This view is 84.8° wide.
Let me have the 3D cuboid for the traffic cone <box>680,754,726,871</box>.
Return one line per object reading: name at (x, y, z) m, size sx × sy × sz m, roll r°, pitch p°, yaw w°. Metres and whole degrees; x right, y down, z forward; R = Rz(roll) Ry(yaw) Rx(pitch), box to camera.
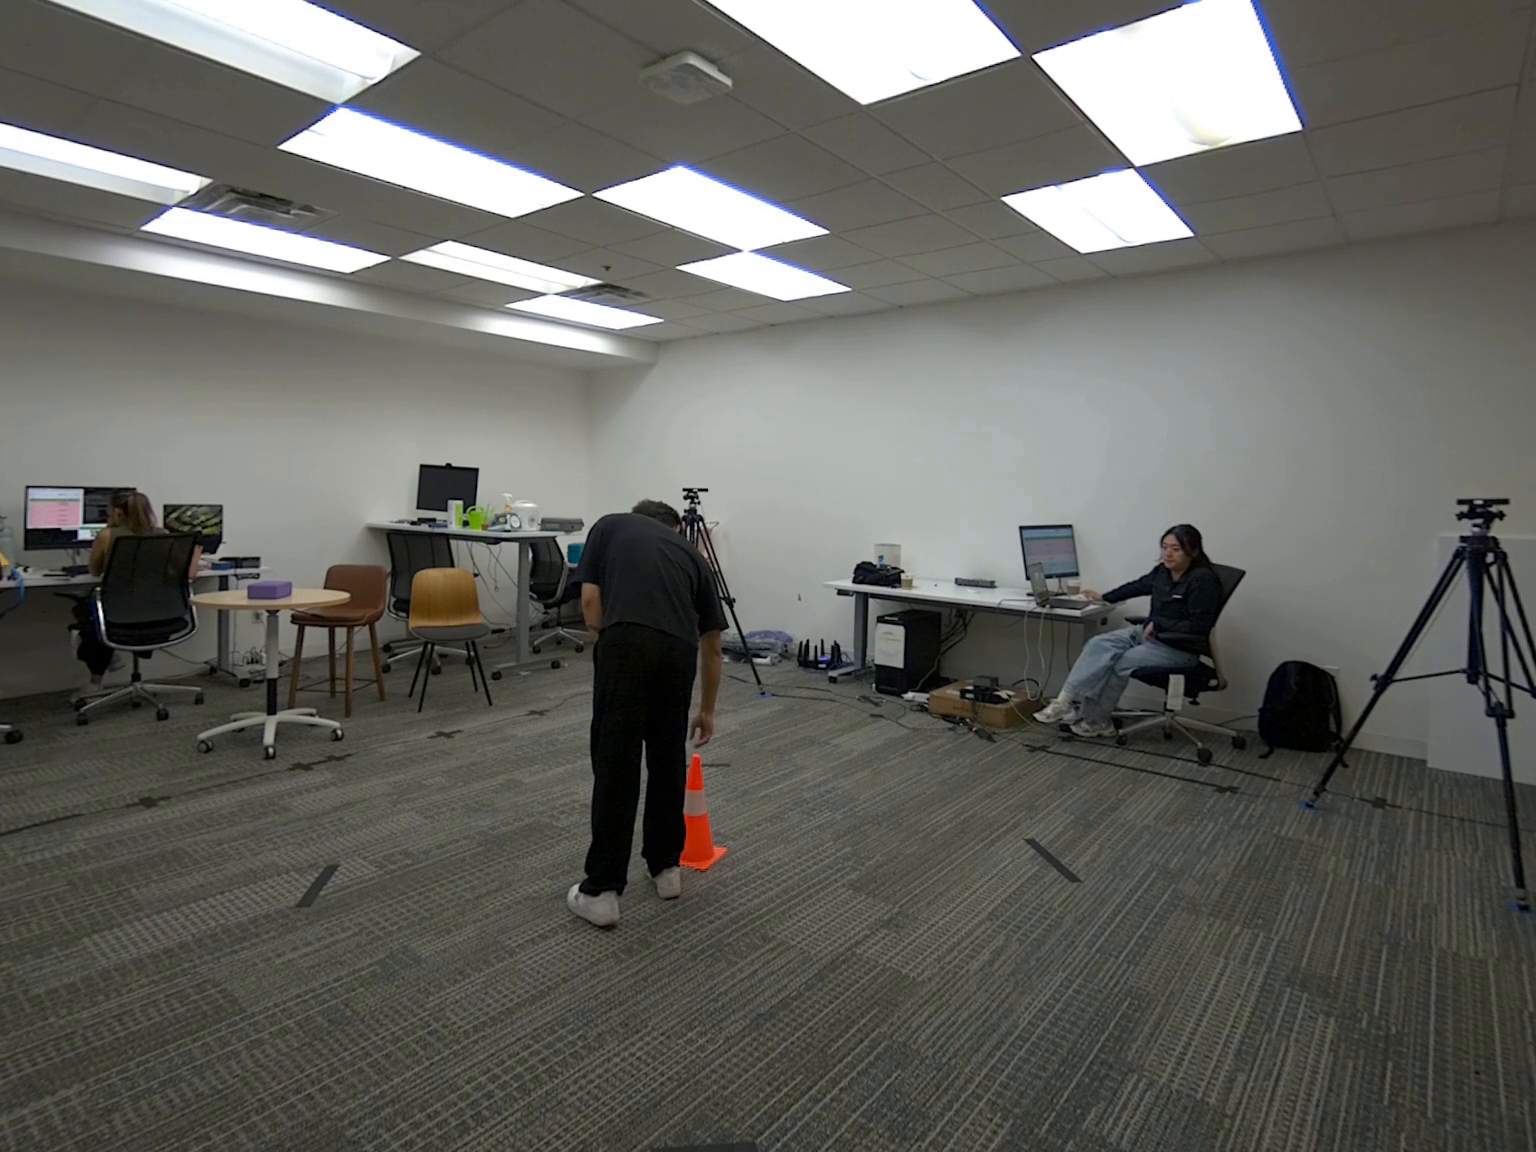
traffic cone at (-0.290, 0.876, 3.225) m, size 0.212 × 0.382 × 0.197 m, roll 5°, pitch 5°, yaw 37°
